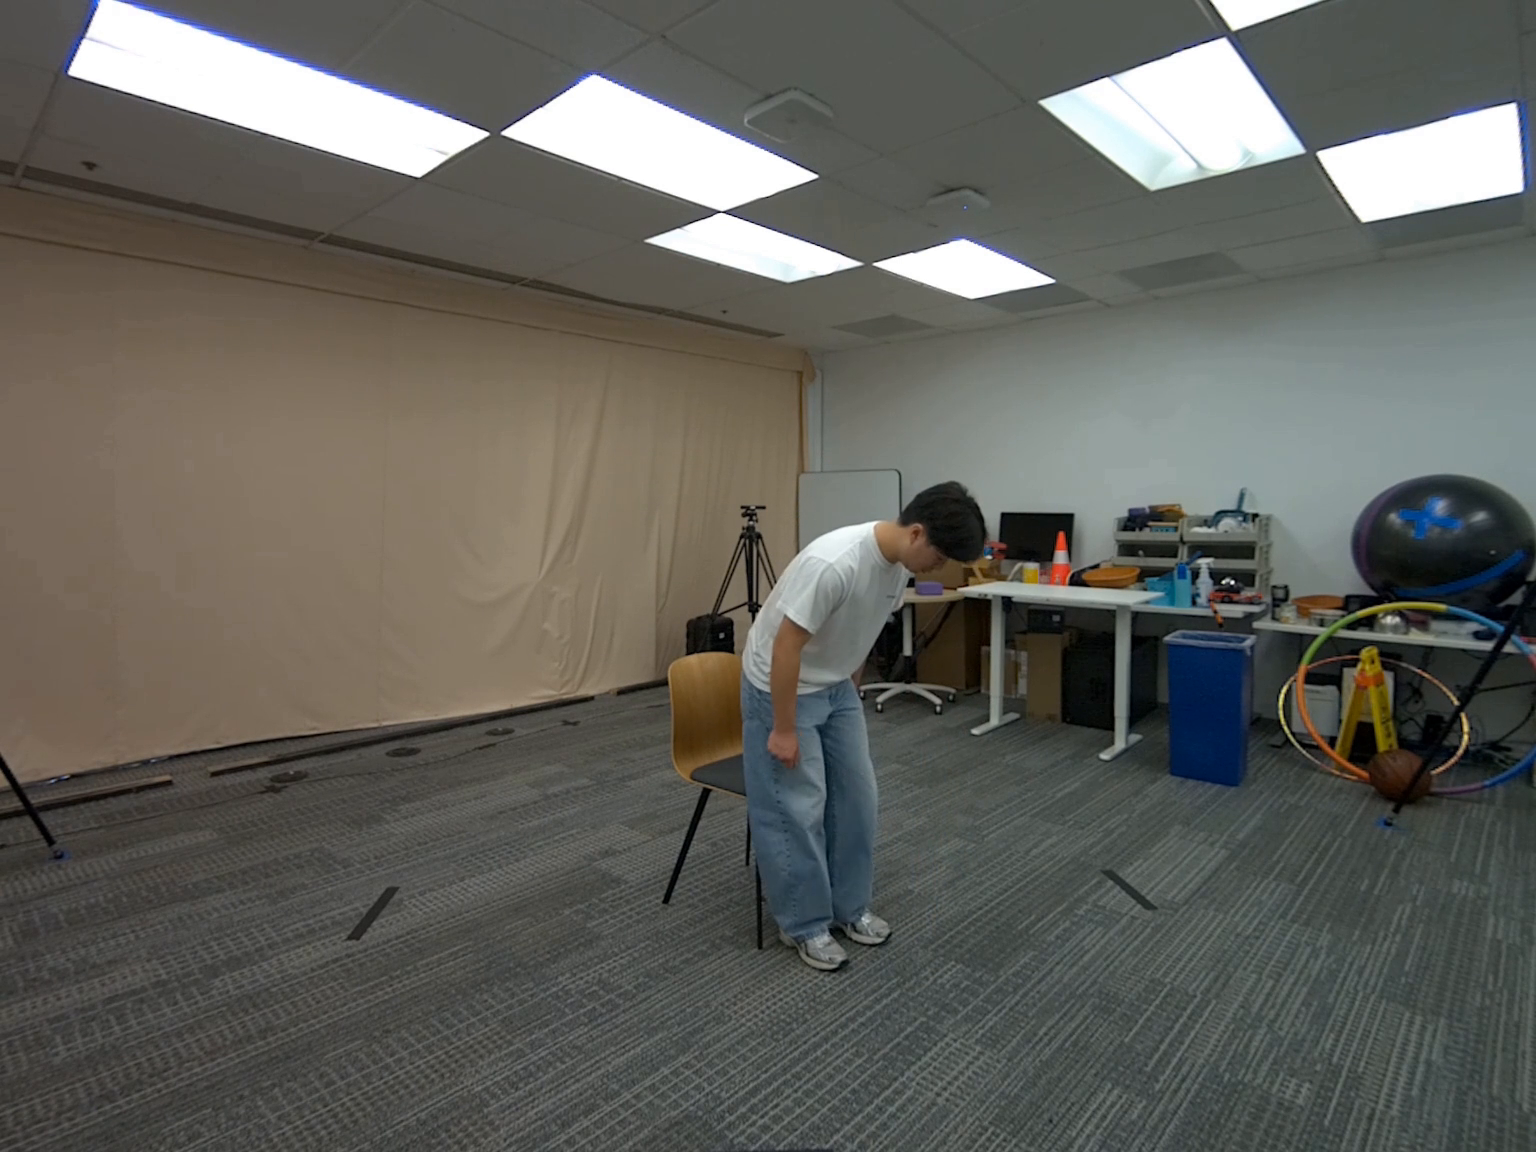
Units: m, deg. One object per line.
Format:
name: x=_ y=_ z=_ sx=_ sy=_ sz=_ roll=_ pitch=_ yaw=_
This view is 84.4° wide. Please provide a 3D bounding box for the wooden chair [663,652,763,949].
wooden chair: x=-0.048 y=0.724 z=2.925 sx=0.539 sy=0.877 sz=0.463 roll=-3 pitch=1 yaw=42
